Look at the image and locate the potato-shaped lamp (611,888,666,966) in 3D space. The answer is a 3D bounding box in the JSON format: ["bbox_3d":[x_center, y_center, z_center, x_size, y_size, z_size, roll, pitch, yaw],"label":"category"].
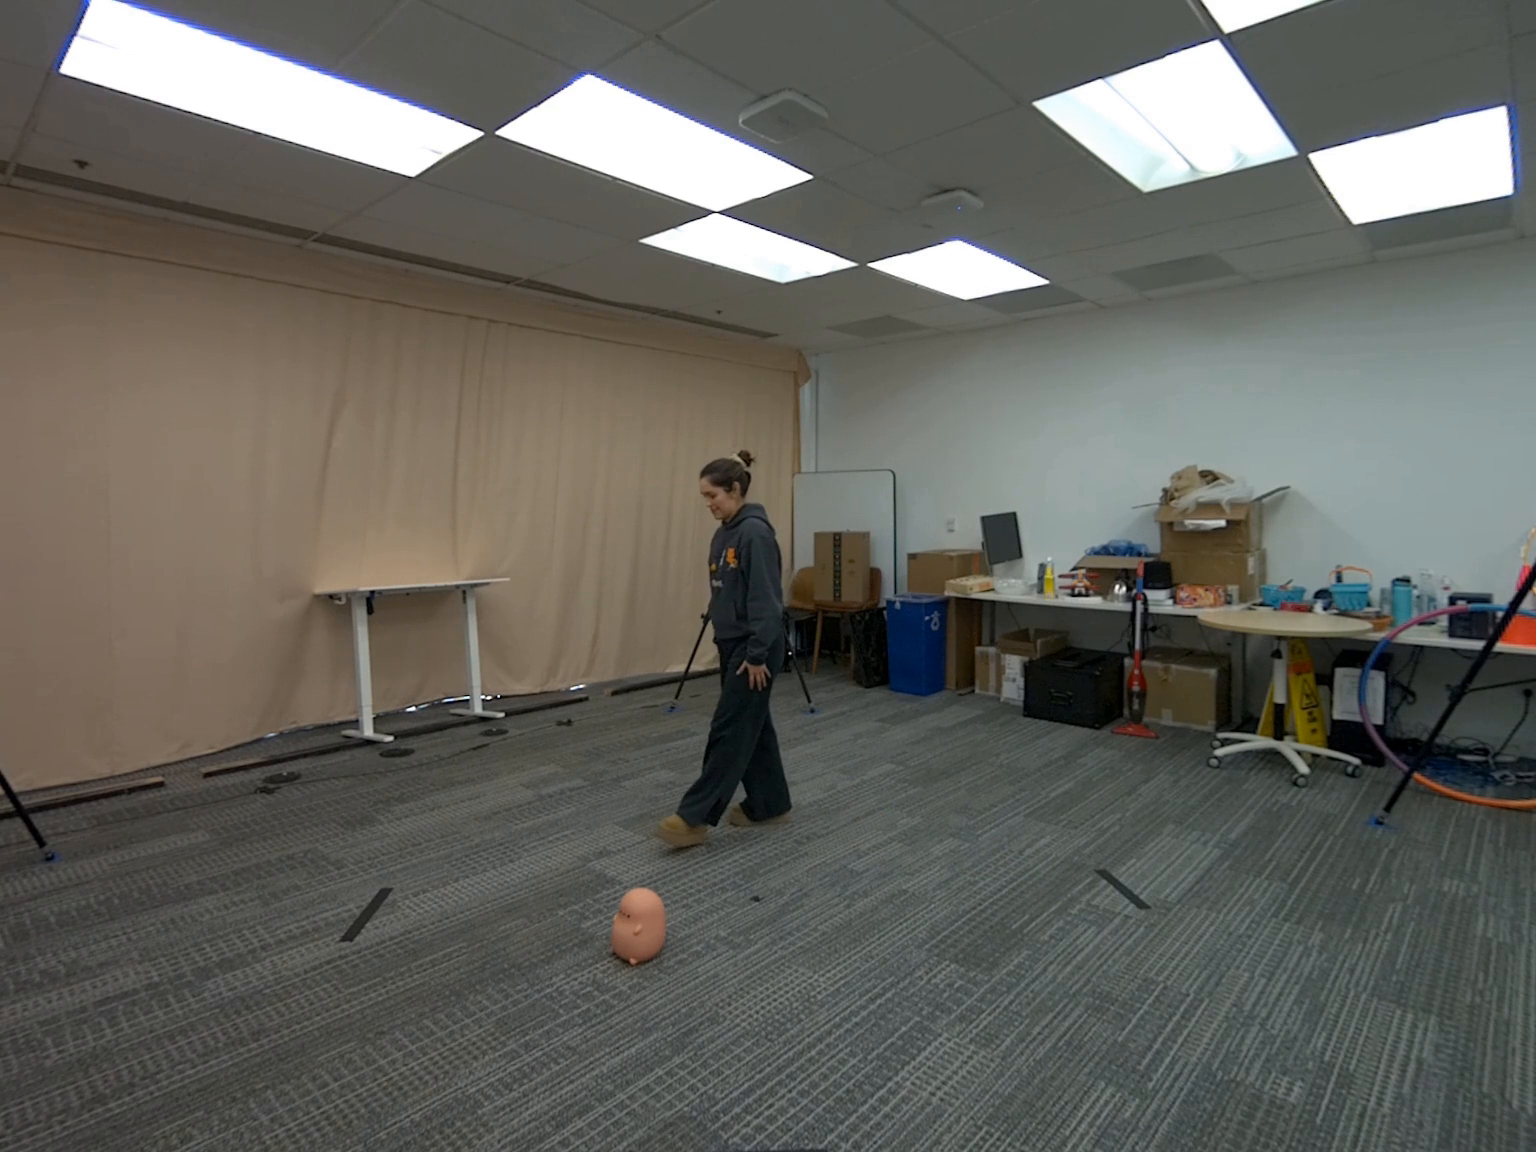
[{"bbox_3d":[-0.383,1.083,2.619,0.166,0.198,0.170,-3,3,-38],"label":"potato-shaped lamp"}]
